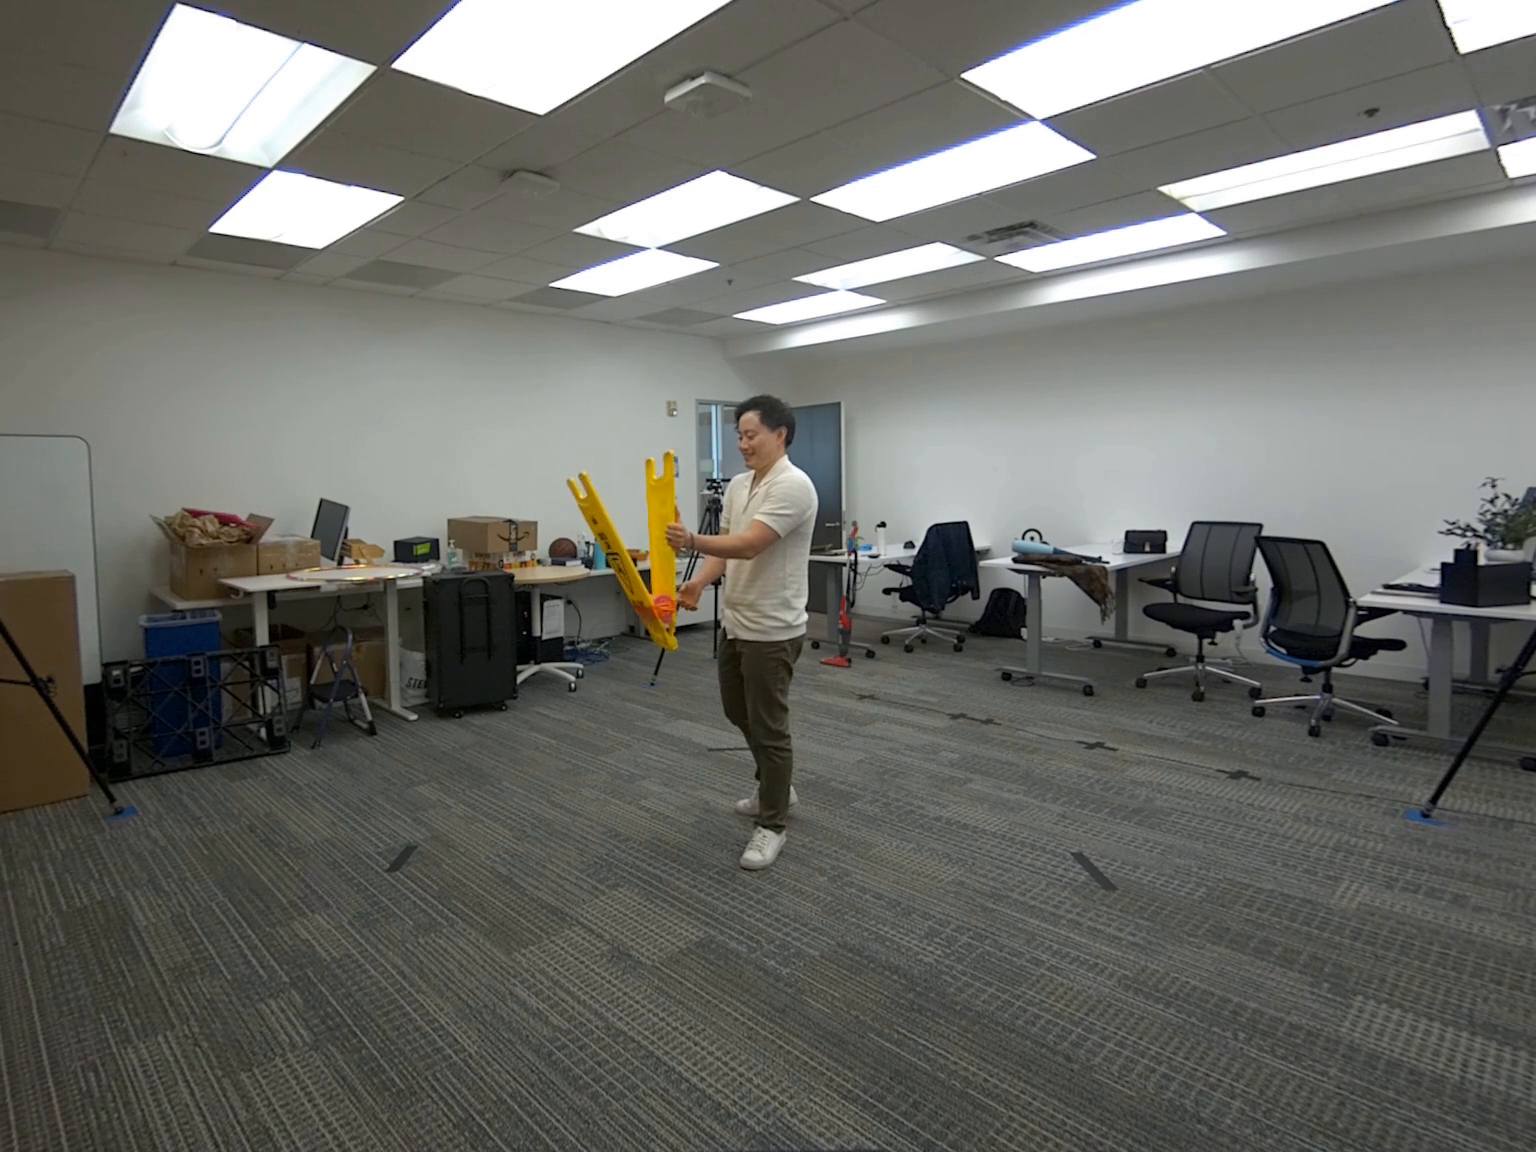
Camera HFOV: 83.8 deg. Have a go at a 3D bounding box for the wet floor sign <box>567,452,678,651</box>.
[{"bbox_3d":[-0.420,-0.064,2.904,0.286,0.643,0.287,-17,5,-21],"label":"wet floor sign"}]
